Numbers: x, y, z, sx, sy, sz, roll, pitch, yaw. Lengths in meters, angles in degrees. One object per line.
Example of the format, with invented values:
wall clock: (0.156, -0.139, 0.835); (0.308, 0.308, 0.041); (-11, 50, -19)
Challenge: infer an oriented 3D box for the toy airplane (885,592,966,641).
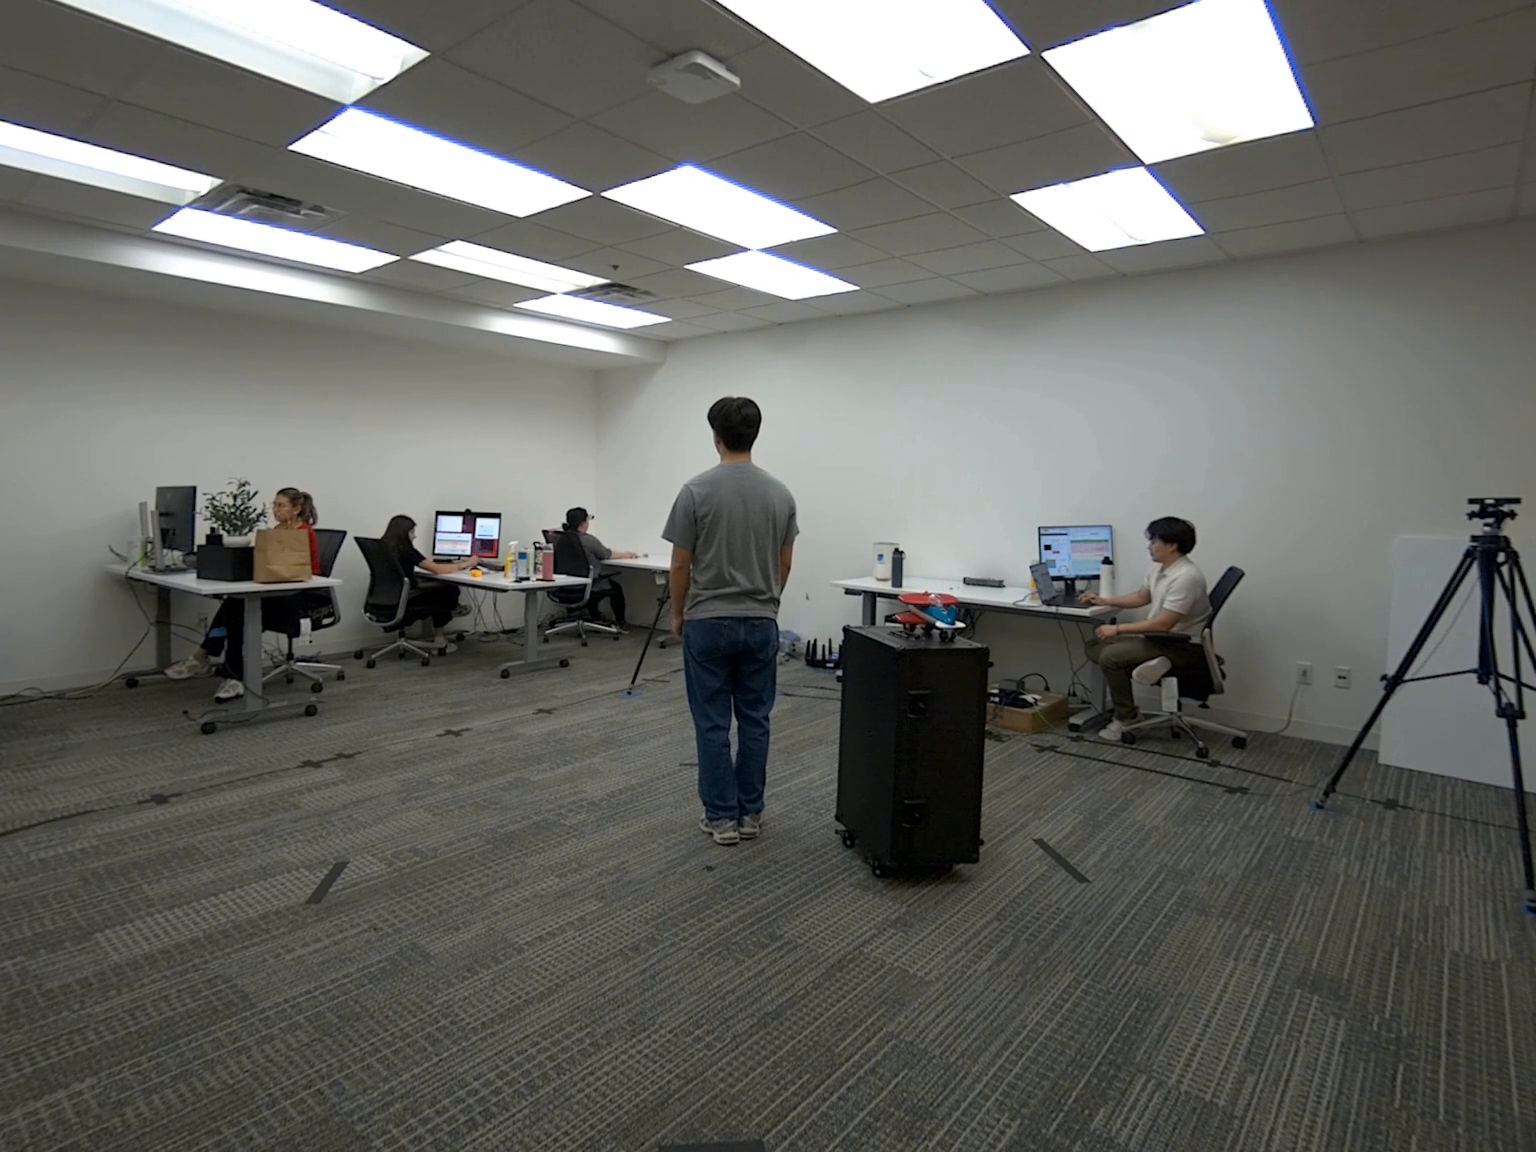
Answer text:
toy airplane: (0.633, 0.149, 3.233); (0.268, 0.156, 0.244); (5, 6, 38)
